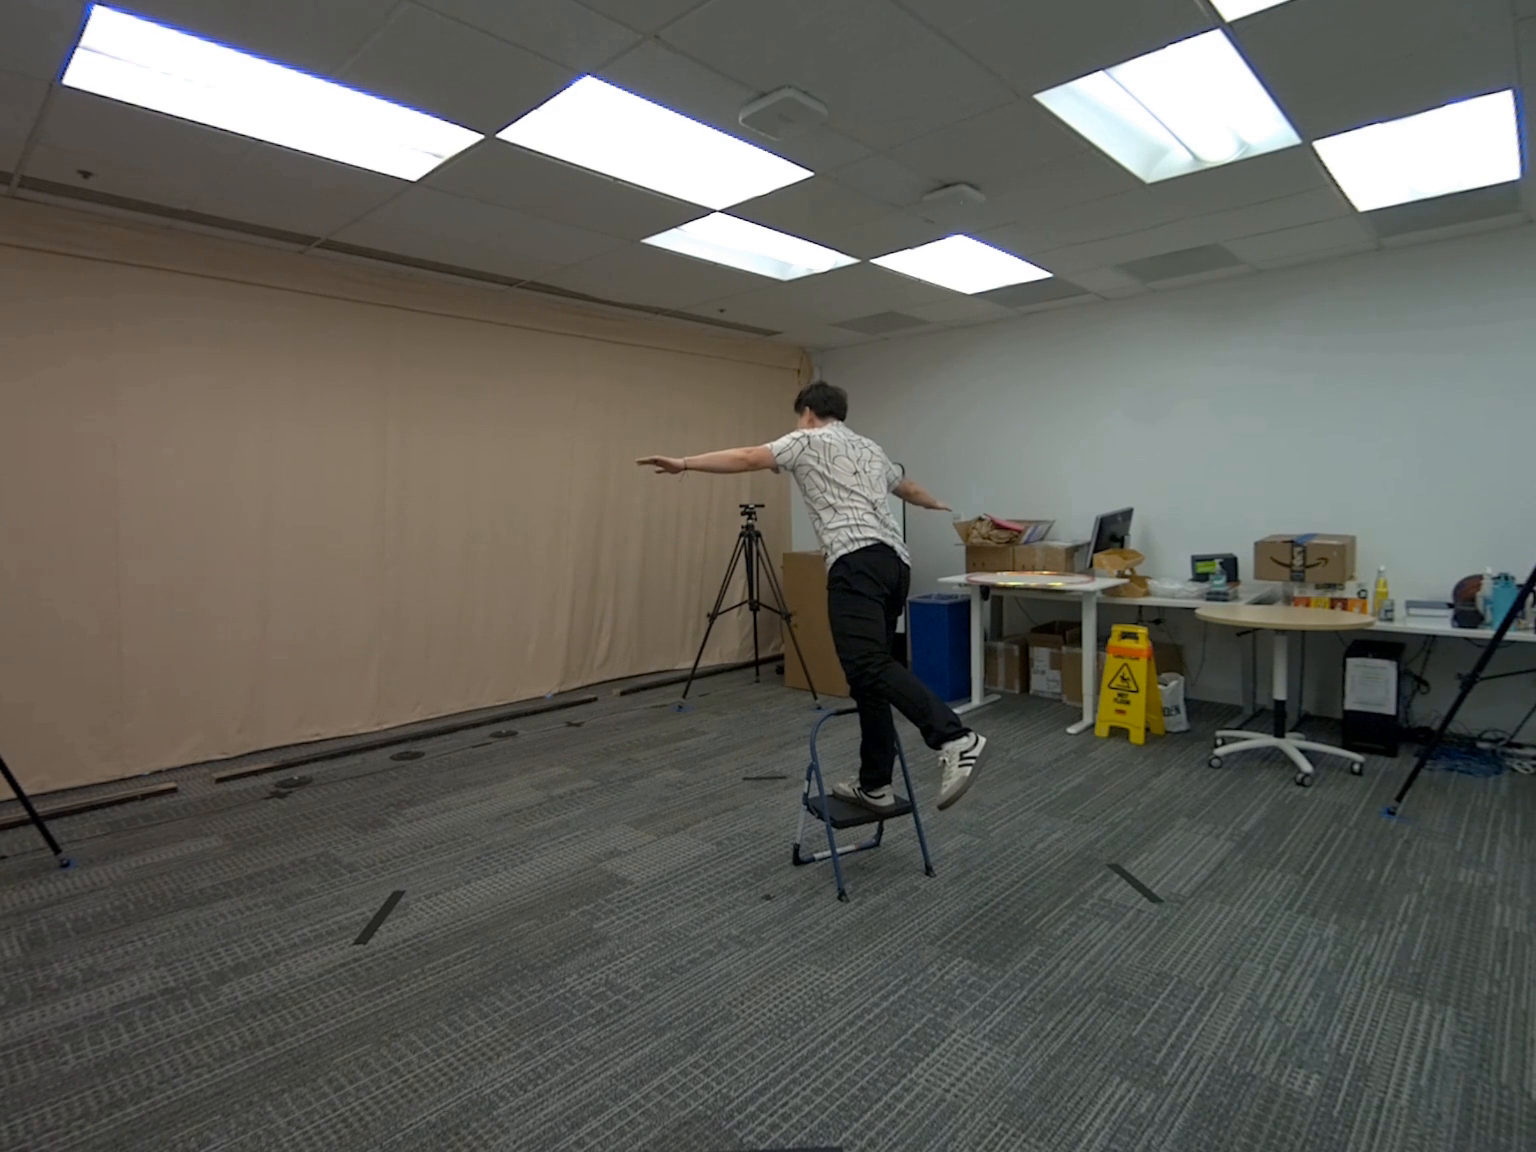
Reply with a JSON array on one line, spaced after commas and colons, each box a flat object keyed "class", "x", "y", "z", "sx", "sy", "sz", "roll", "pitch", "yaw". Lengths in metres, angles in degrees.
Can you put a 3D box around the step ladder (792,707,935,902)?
[{"class": "step ladder", "x": 0.356, "y": 0.813, "z": 3.174, "sx": 0.419, "sy": 0.605, "sz": 0.359, "roll": -3, "pitch": 4, "yaw": -30}]
